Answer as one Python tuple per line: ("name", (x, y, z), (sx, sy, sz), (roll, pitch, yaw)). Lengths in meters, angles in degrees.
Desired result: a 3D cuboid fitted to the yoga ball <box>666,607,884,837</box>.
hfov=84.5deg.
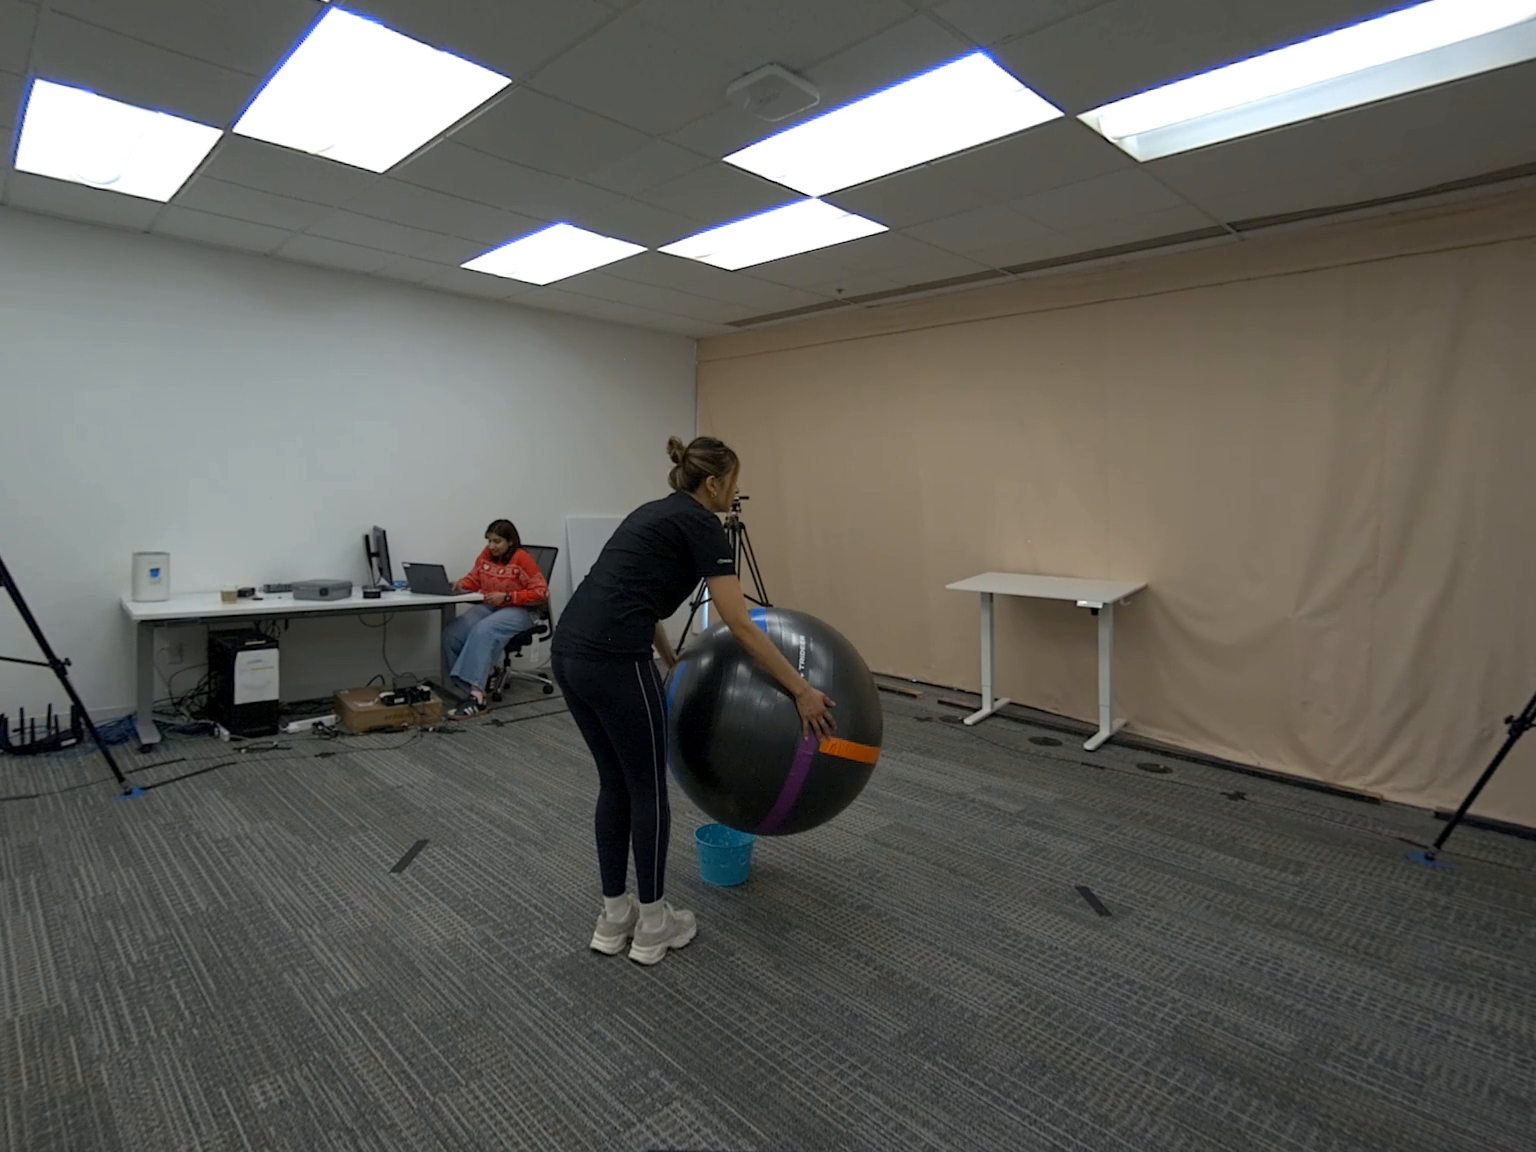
("yoga ball", (0.005, 0.494, 2.858), (0.757, 0.756, 0.761), (1, 4, -1))
